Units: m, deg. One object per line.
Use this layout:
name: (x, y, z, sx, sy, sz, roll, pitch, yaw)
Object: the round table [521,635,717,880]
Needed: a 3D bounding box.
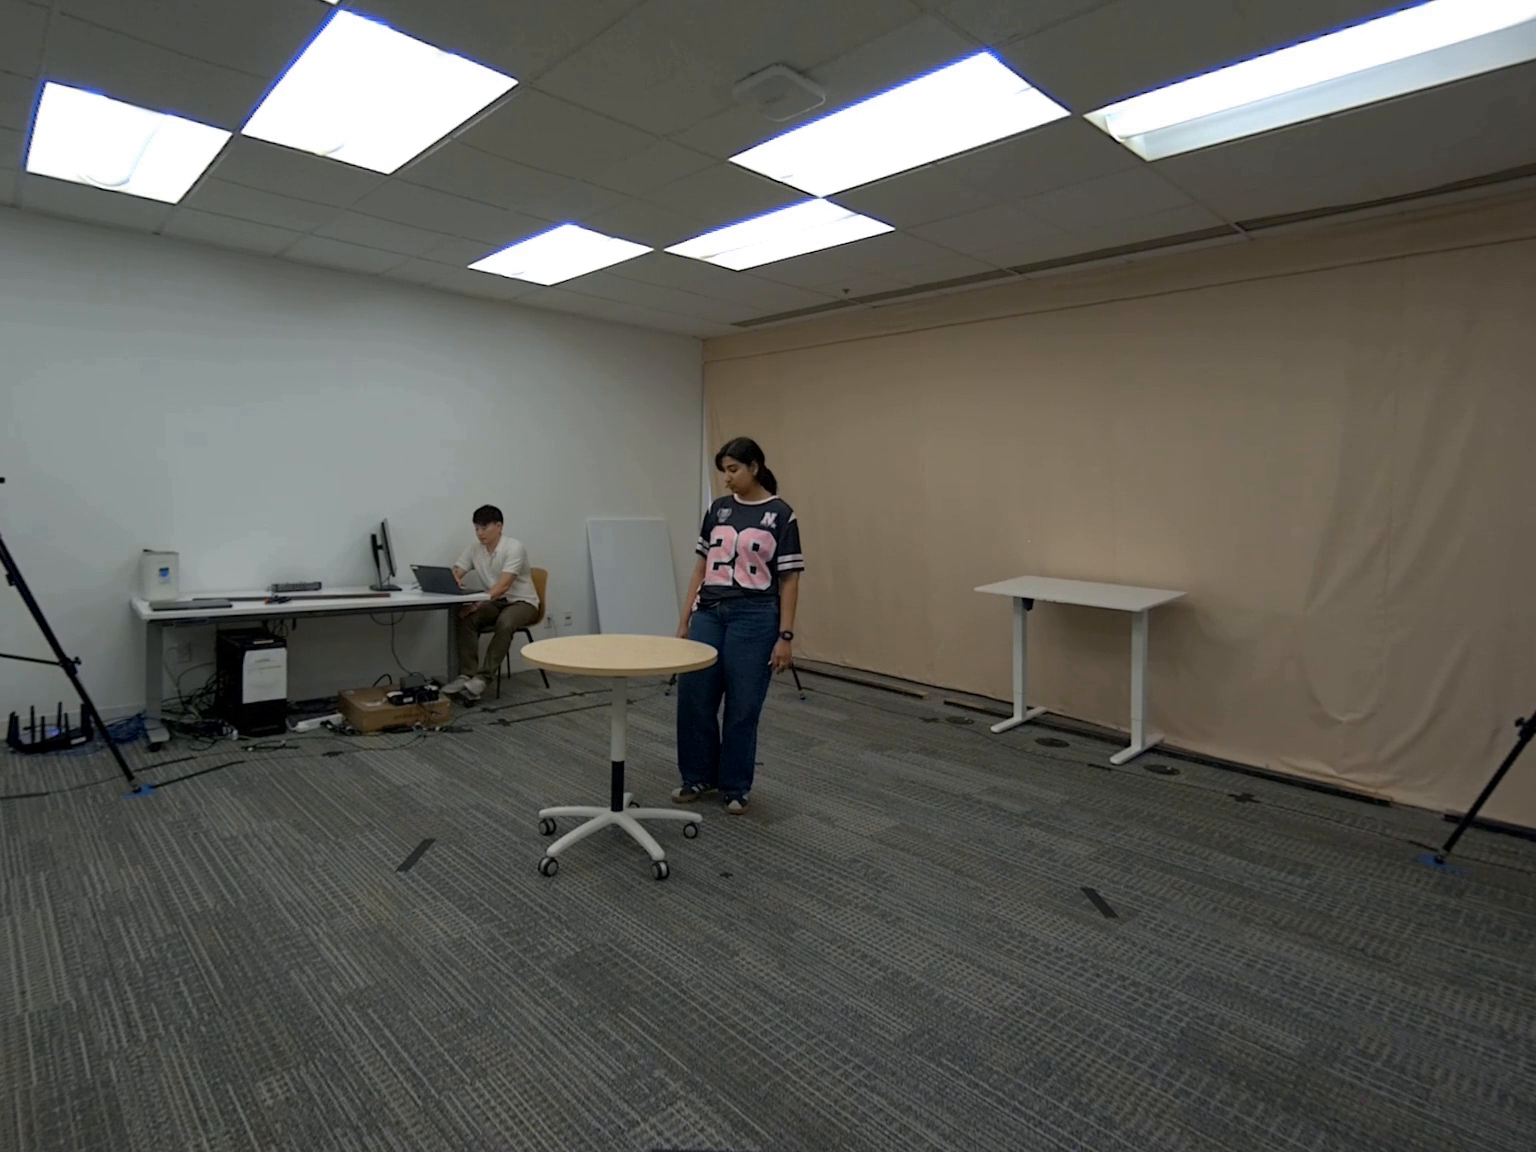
round table: (-0.605, 0.688, 3.330, 0.763, 0.792, 0.766, 2, 4, -1)
